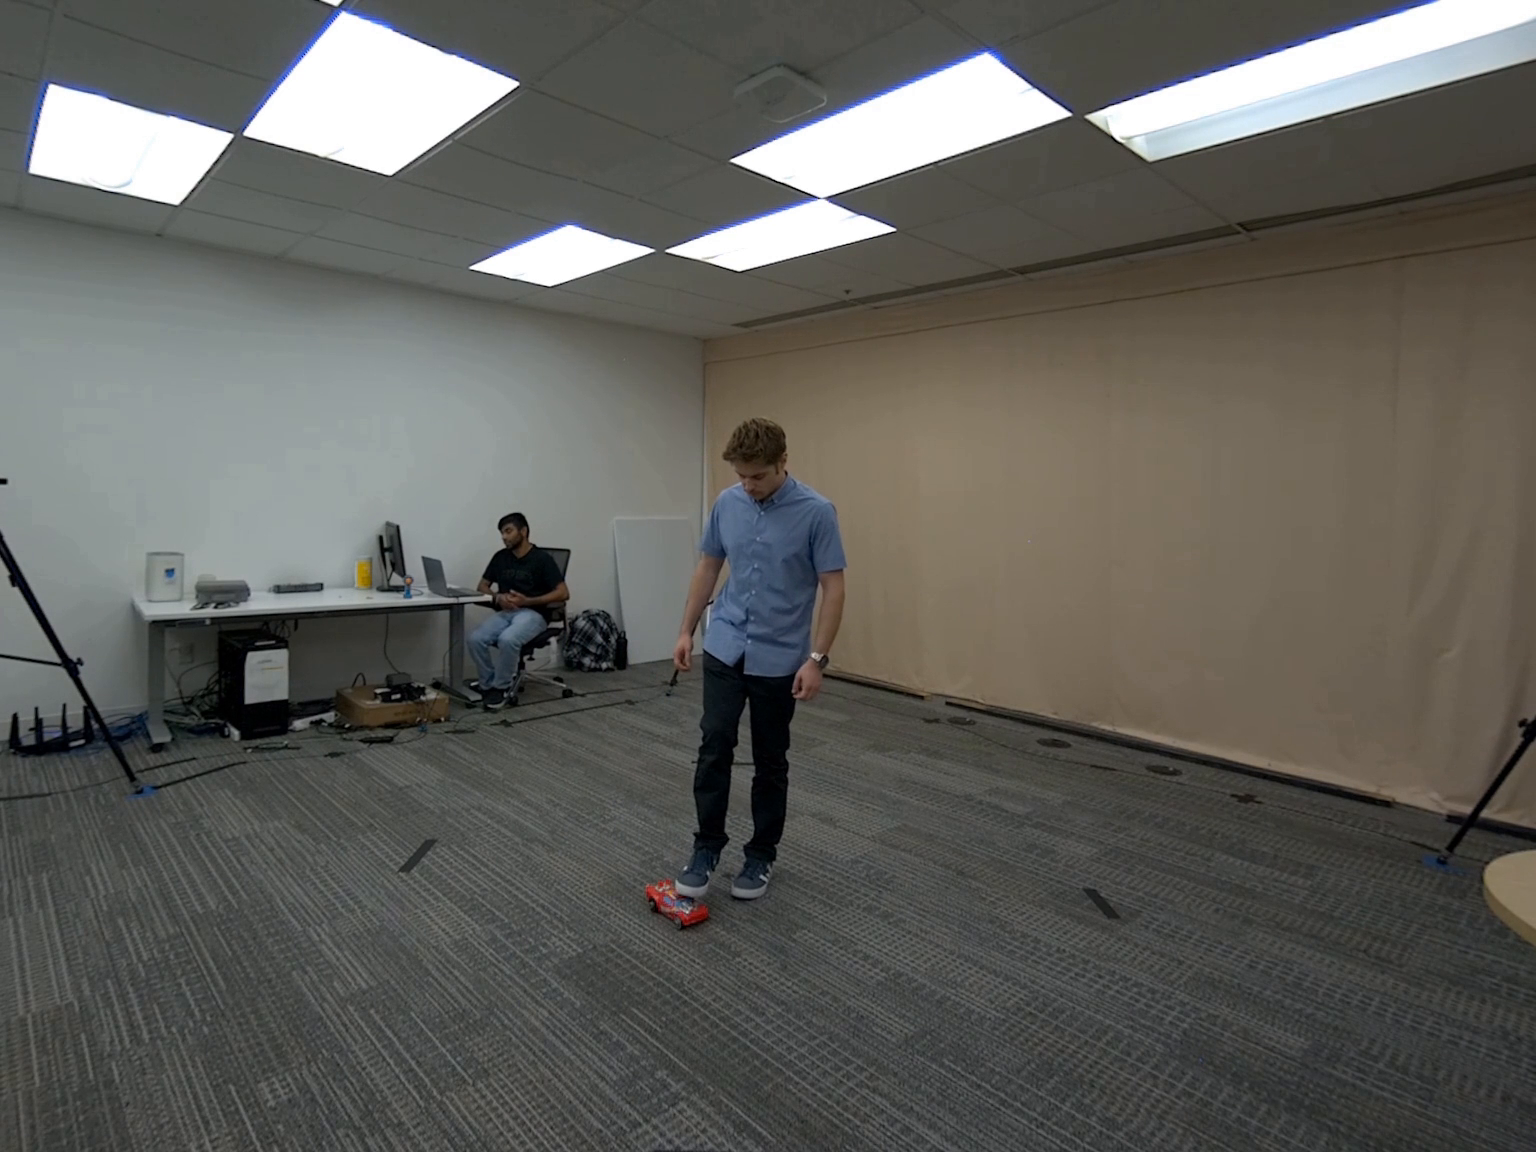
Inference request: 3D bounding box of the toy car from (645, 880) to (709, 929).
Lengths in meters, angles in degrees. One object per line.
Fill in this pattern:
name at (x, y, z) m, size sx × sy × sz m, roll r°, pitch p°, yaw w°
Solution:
toy car at (-0.321, 1.101, 2.812) m, size 0.127 × 0.082 × 0.262 m, roll -3°, pitch 17°, yaw -40°
